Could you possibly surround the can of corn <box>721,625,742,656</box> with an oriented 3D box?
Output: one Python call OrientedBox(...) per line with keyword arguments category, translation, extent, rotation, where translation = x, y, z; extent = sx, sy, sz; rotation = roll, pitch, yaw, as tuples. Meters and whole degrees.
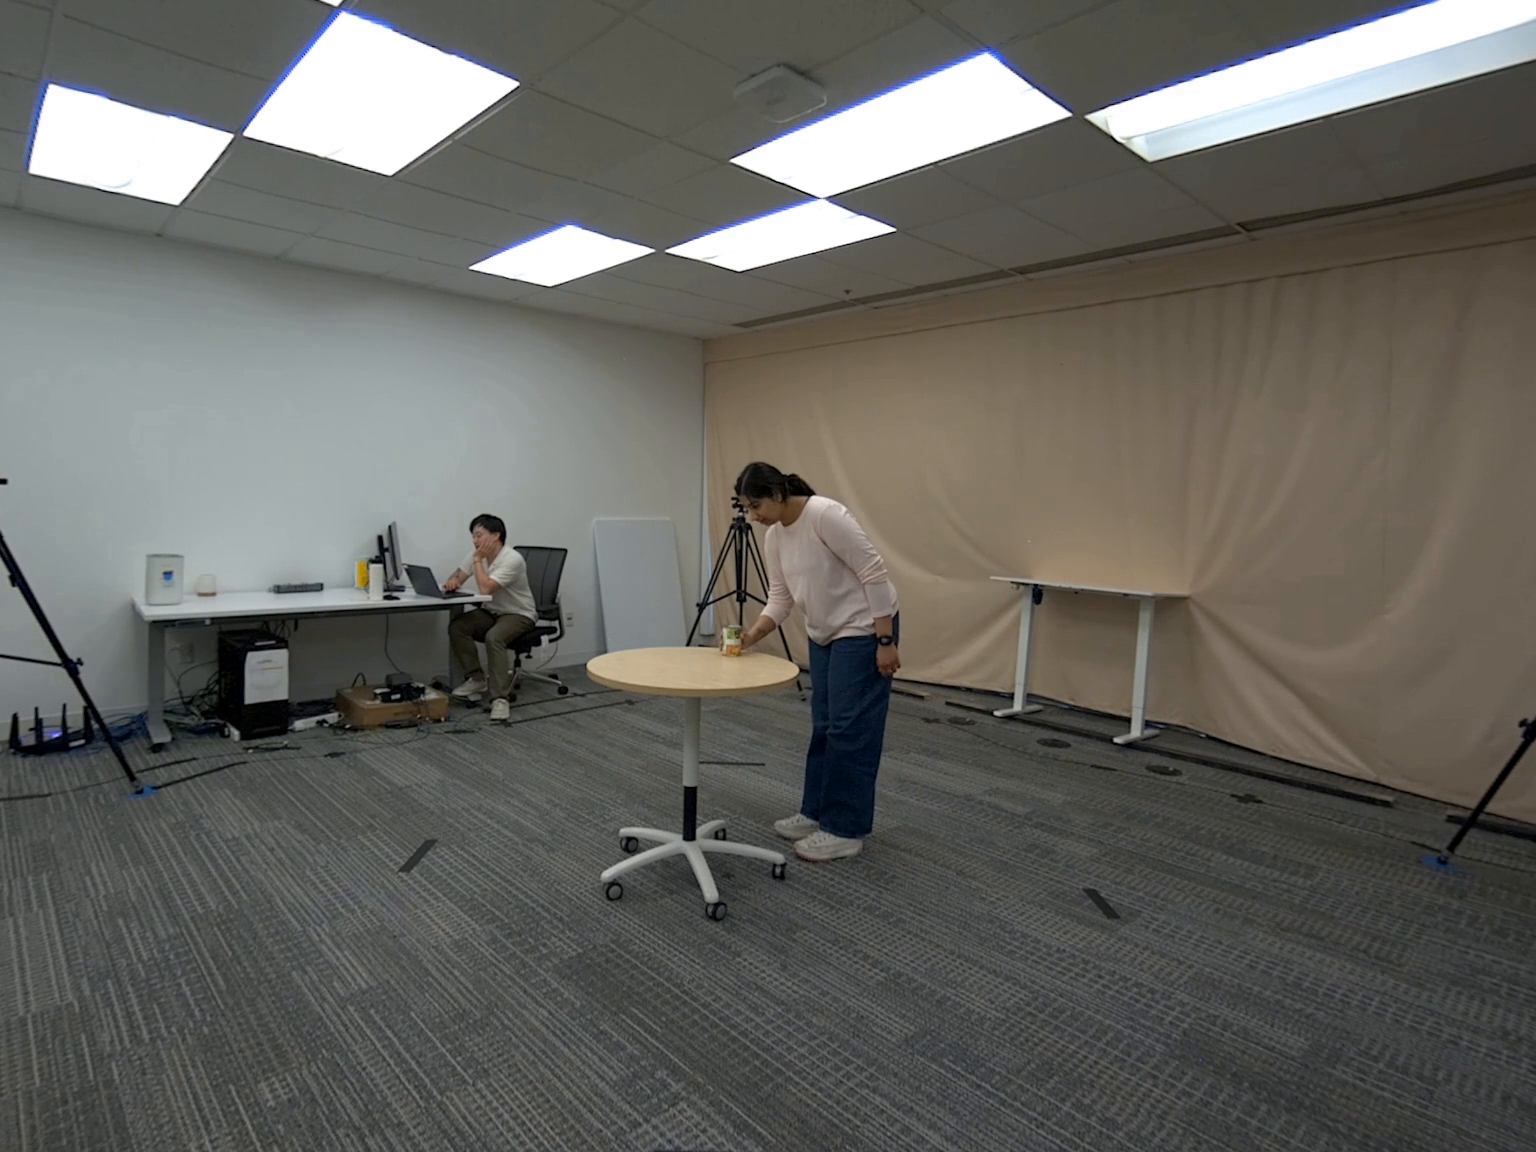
OrientedBox(category="can of corn", translation=(-0.155, 0.253, 3.274), extent=(0.074, 0.111, 0.074), rotation=(2, 0, -1))
